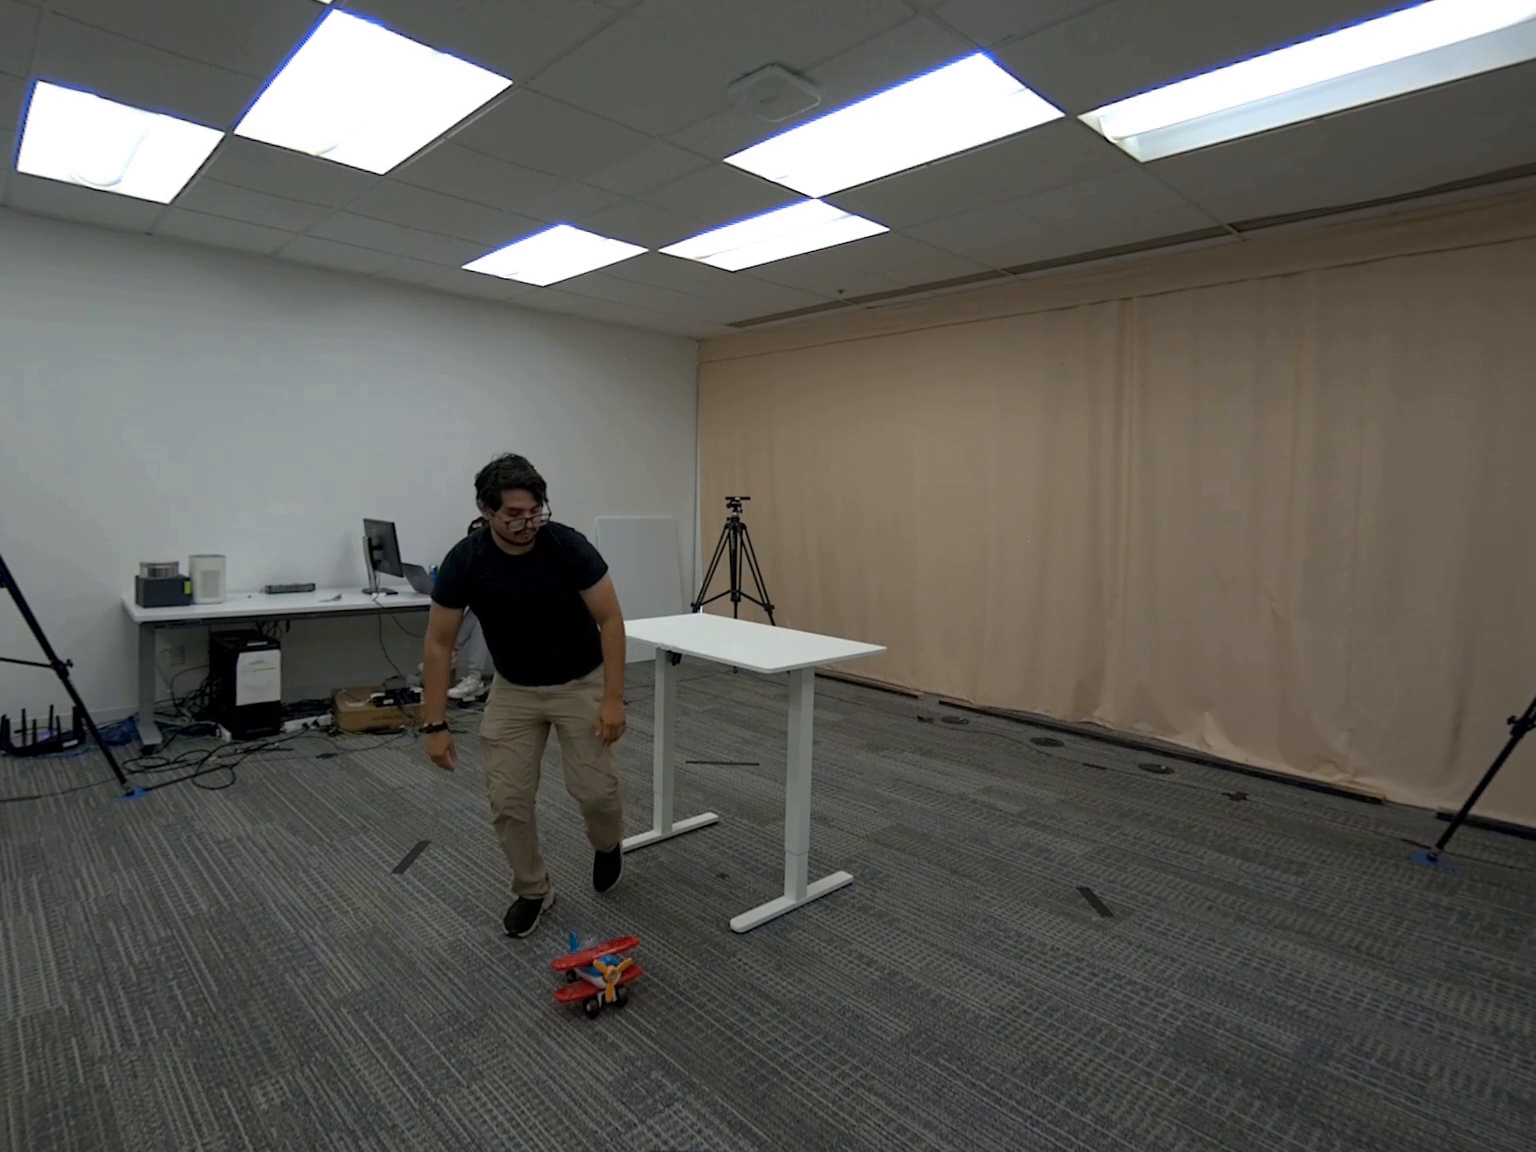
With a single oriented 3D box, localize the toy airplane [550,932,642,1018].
[{"bbox_3d":[-0.513,1.100,2.322,0.264,0.156,0.247,5,5,24],"label":"toy airplane"}]
